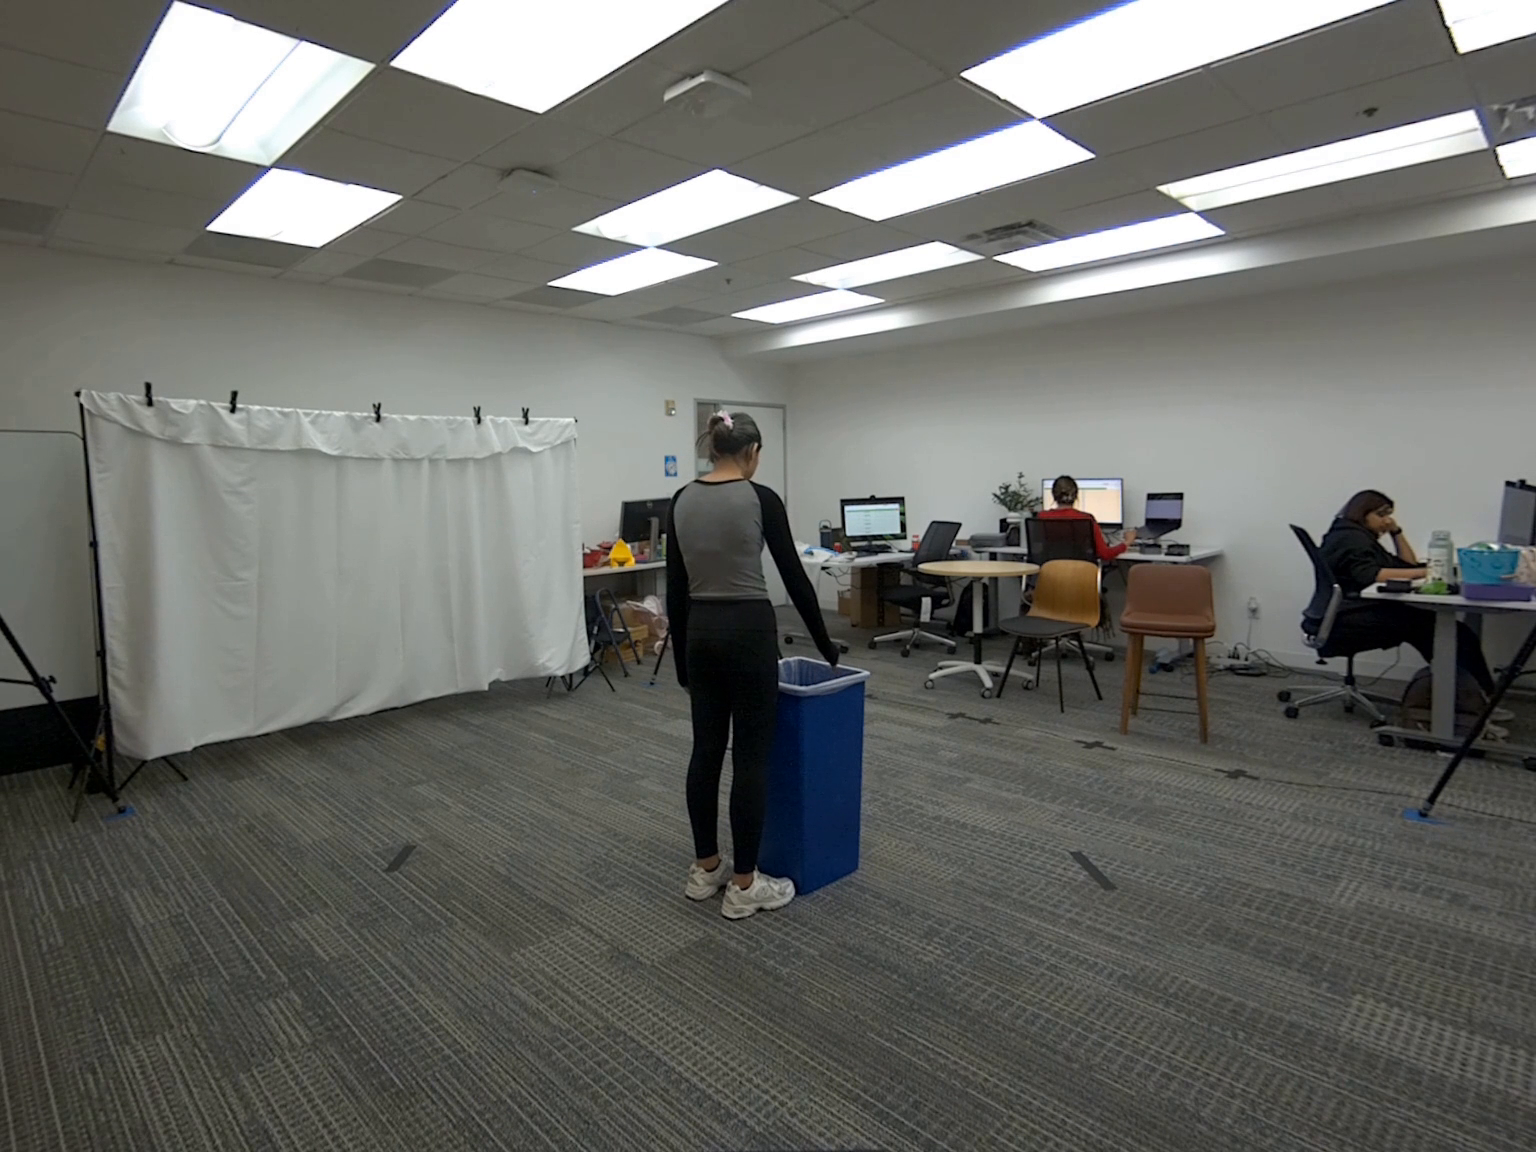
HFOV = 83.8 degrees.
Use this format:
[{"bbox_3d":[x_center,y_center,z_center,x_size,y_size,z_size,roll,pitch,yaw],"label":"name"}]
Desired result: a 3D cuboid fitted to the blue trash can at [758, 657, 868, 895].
[{"bbox_3d":[0.124,0.689,3.031,0.368,0.711,0.385,-5,5,-44],"label":"blue trash can"}]
